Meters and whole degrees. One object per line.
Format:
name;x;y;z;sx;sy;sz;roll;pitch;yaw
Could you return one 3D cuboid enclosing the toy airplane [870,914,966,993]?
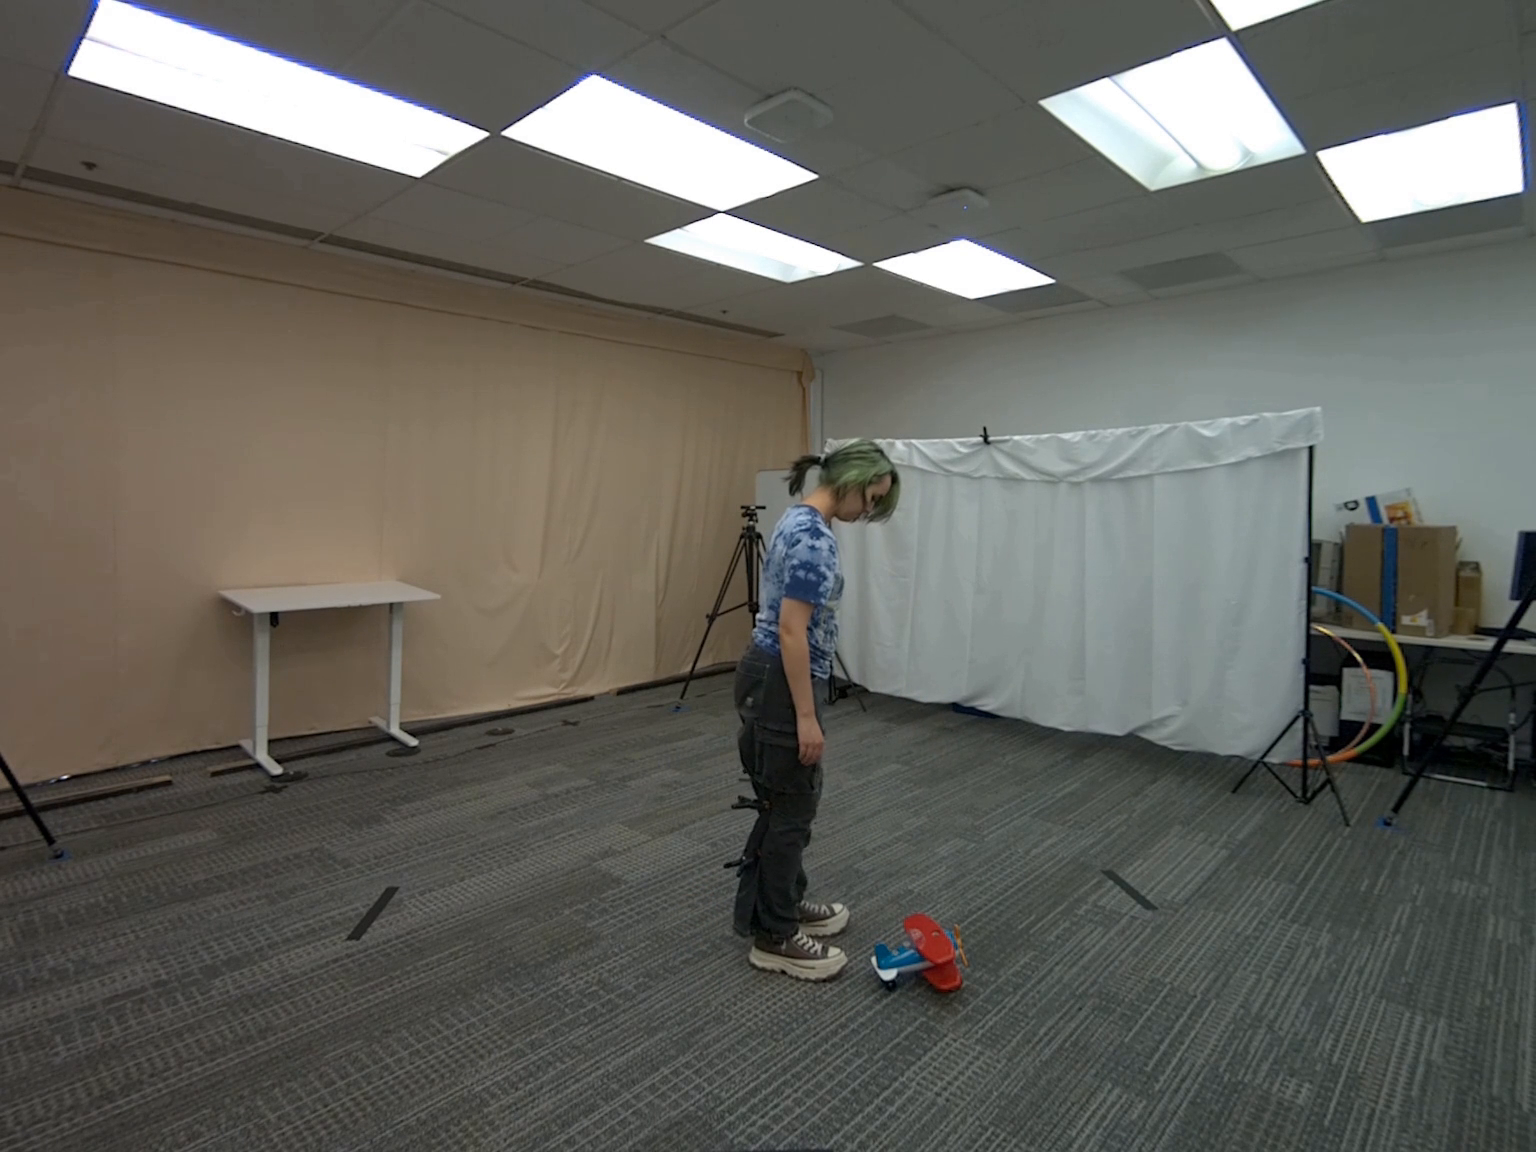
toy airplane;0.451;1.124;2.417;0.251;0.156;0.259;-2;5;-36
